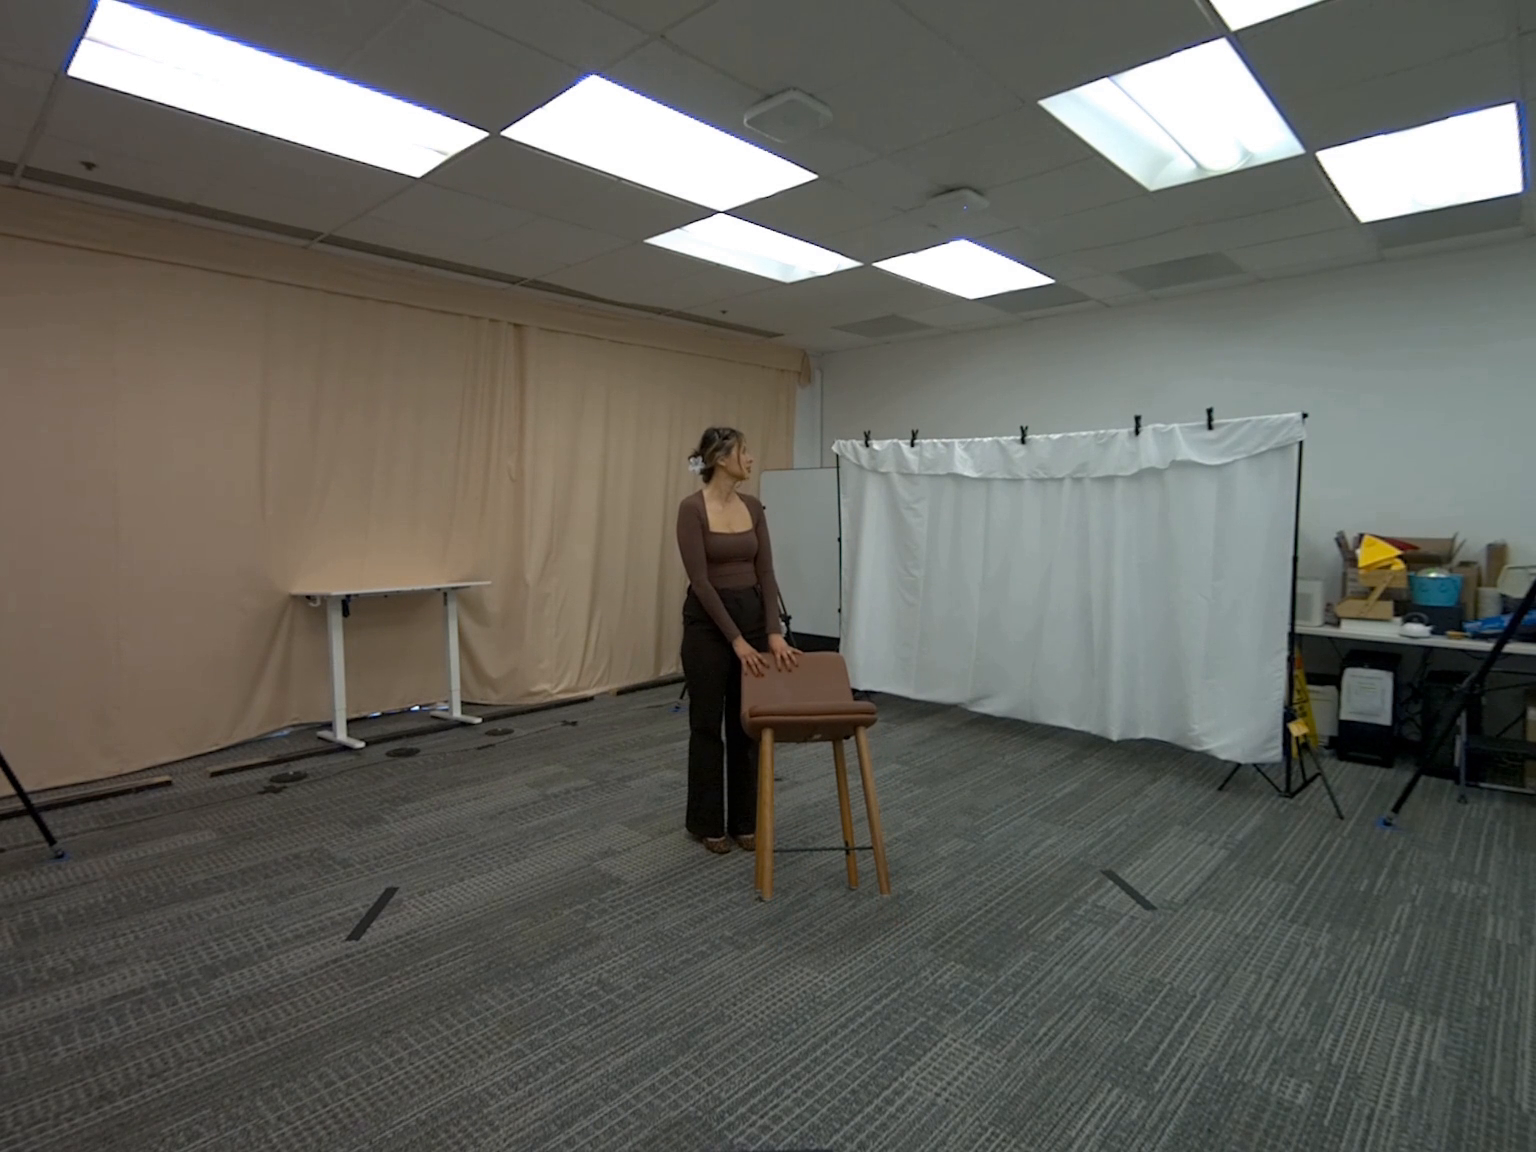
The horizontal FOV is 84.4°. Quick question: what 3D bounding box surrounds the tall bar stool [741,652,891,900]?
[{"bbox_3d":[0.151,0.660,3.001,0.455,0.901,0.463,-1,-20,-4],"label":"tall bar stool"}]
